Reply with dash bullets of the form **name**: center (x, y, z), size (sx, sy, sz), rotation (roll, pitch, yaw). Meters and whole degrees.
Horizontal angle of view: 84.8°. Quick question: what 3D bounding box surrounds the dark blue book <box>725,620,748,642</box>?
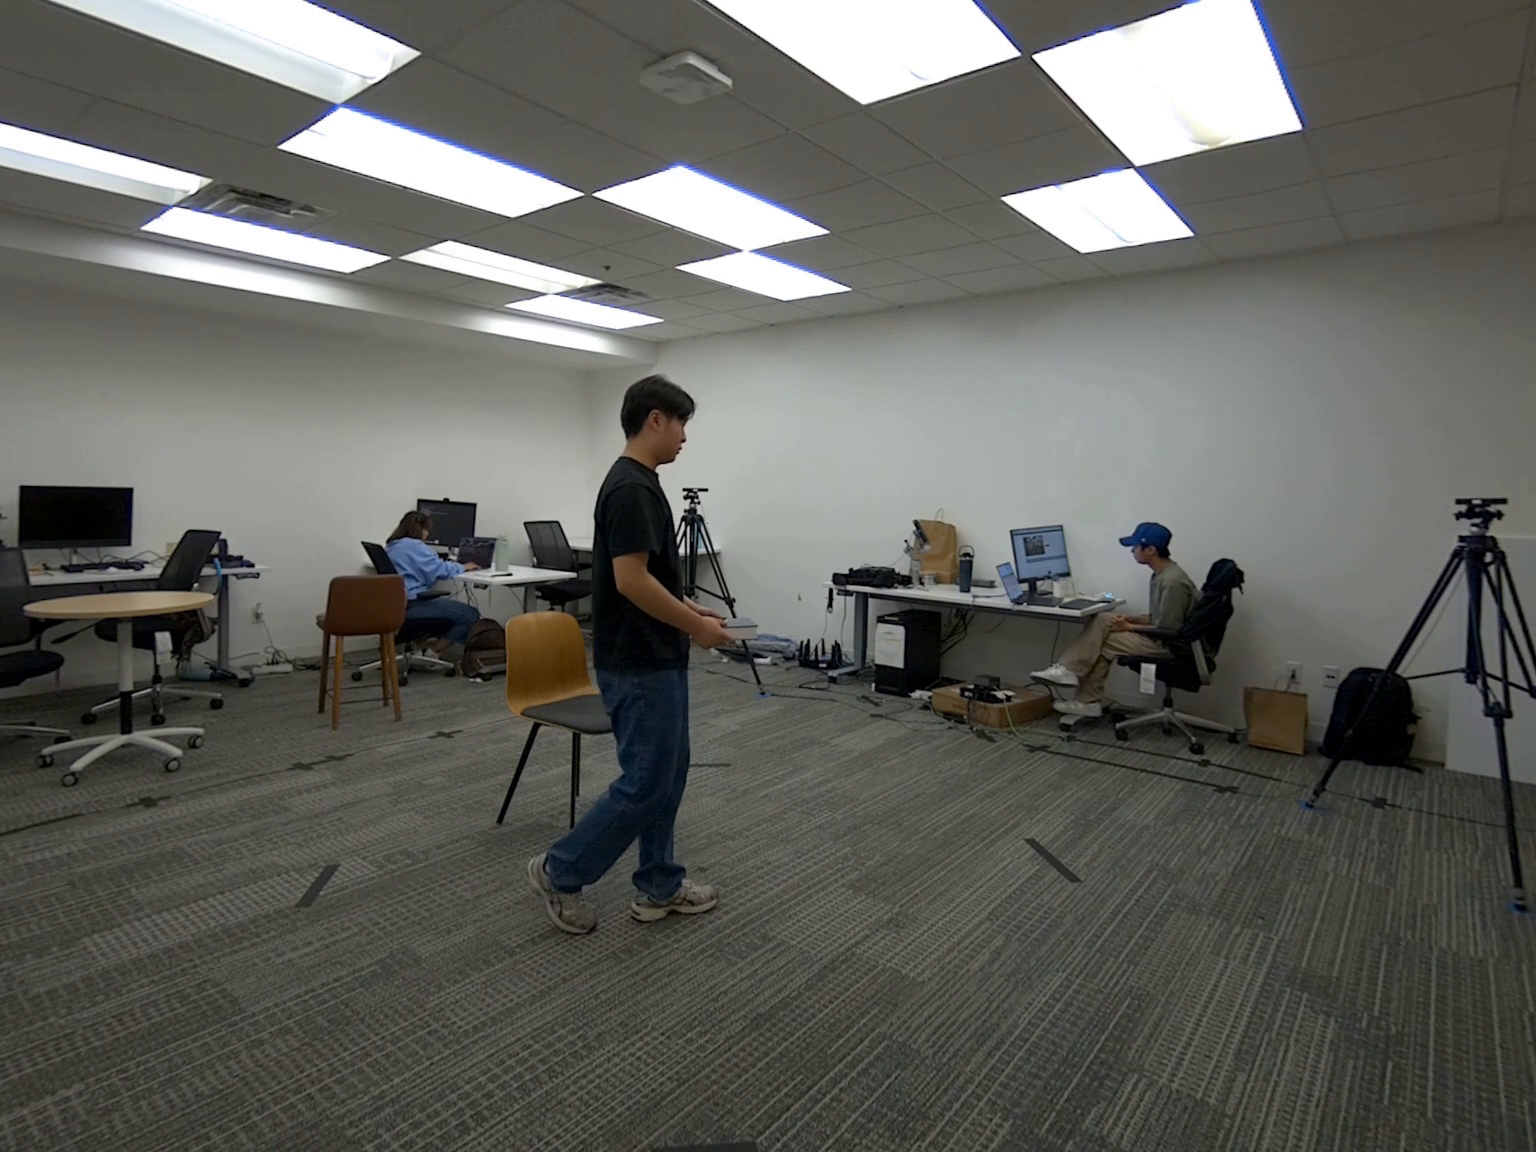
- **dark blue book**: center (-0.156, 0.175, 2.708), size (0.163, 0.045, 0.246), rotation (0, 1, -4)
